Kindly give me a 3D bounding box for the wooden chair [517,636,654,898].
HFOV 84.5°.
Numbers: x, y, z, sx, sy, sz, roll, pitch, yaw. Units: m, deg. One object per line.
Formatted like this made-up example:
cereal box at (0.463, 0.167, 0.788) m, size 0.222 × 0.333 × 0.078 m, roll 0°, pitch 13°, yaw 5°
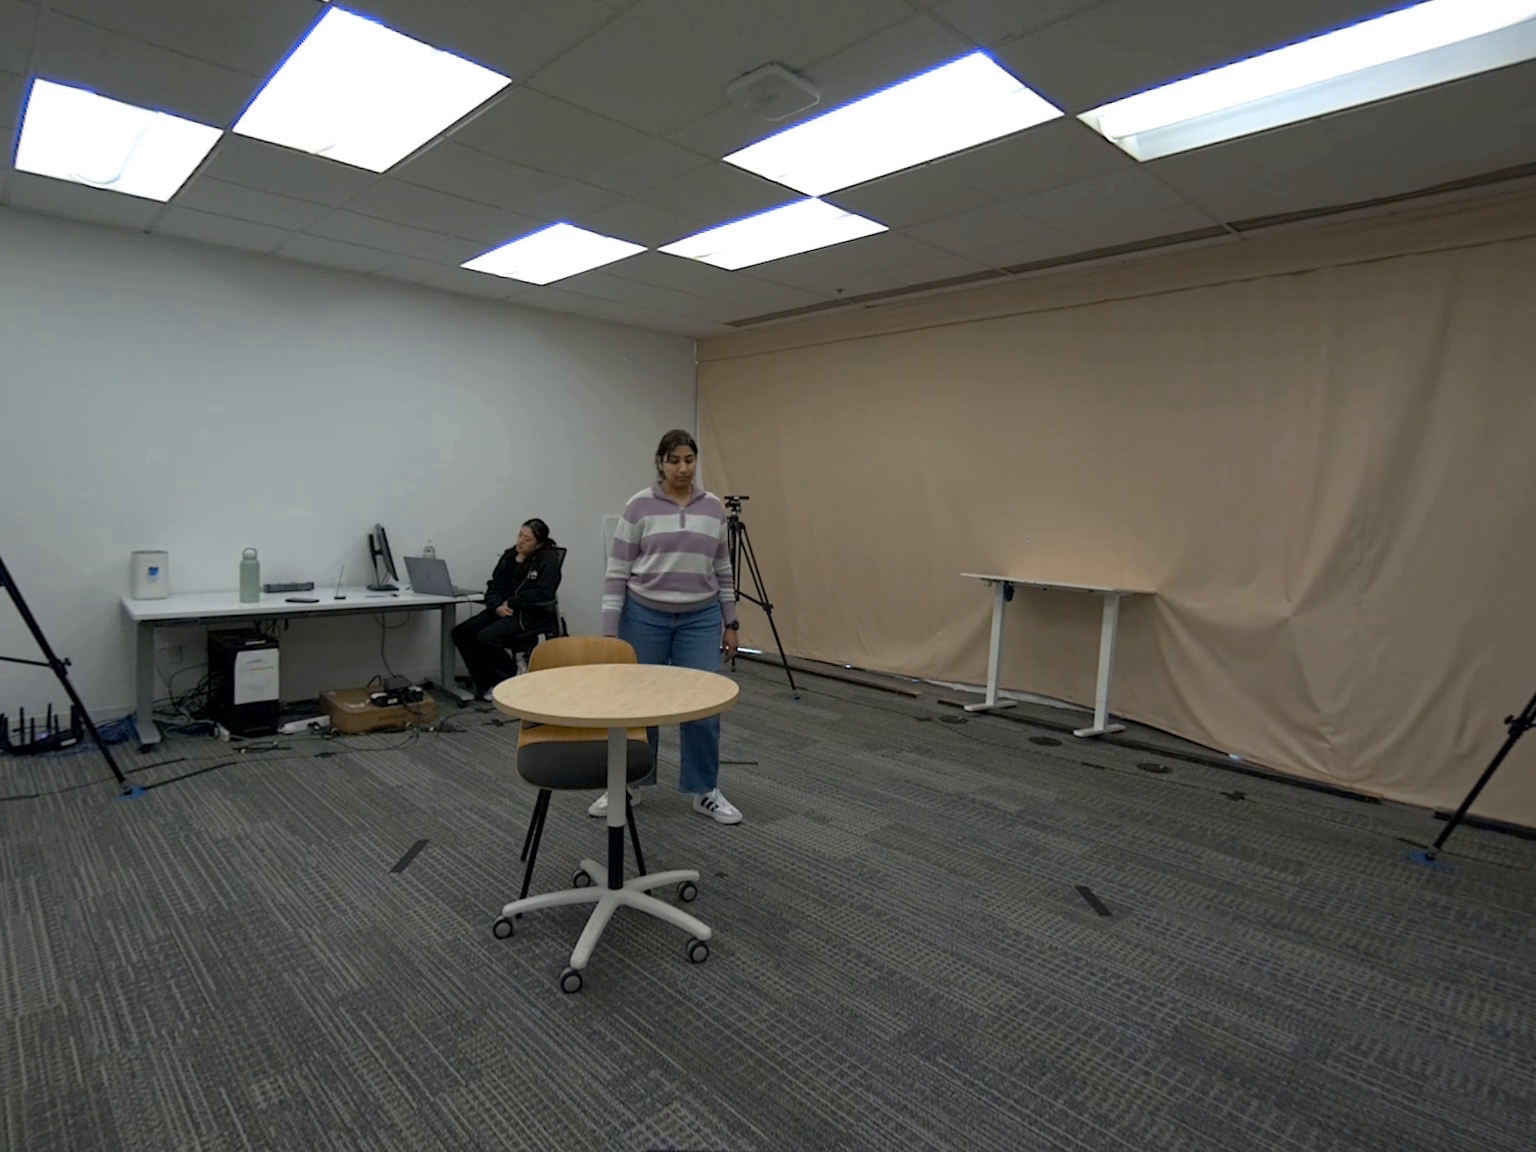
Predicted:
wooden chair at (-0.654, 0.679, 2.973) m, size 0.472 × 0.878 × 0.529 m, roll 1°, pitch -1°, yaw -15°
